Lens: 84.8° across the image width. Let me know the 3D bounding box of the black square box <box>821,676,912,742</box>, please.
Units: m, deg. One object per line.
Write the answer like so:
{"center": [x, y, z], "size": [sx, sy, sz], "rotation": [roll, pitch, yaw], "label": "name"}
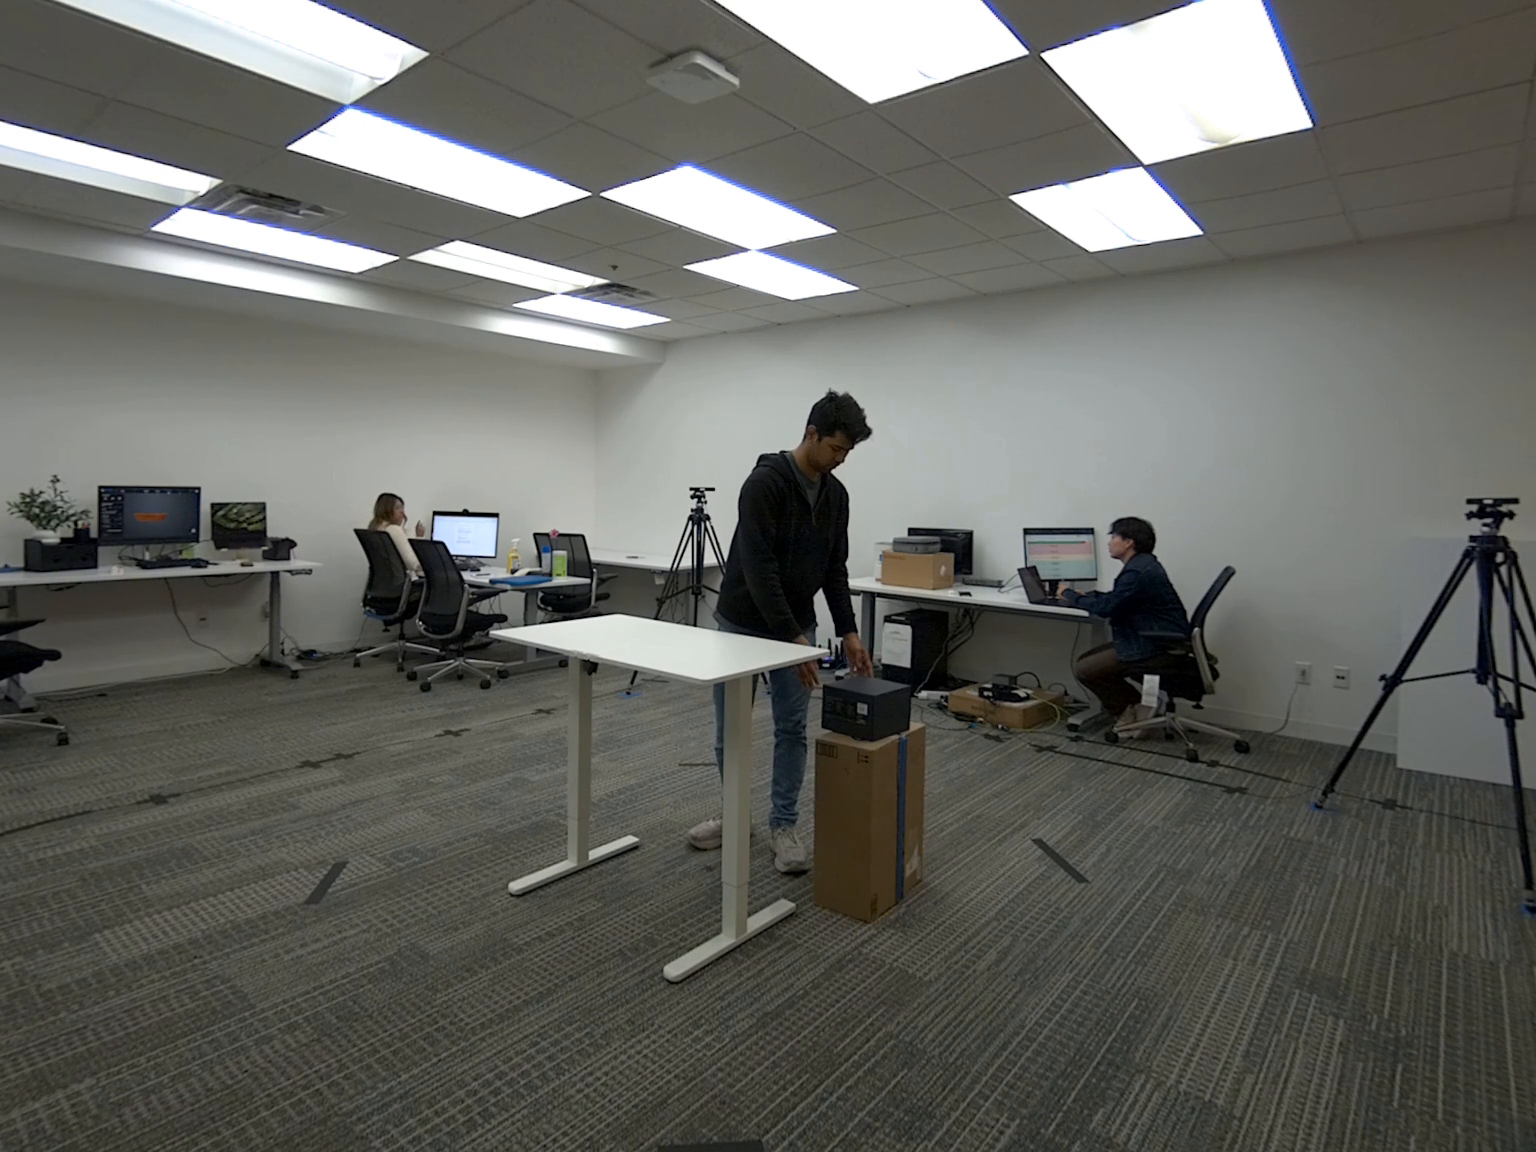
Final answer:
{"center": [0.335, 0.452, 2.939], "size": [0.224, 0.155, 0.221], "rotation": [5, 6, 42], "label": "black square box"}
